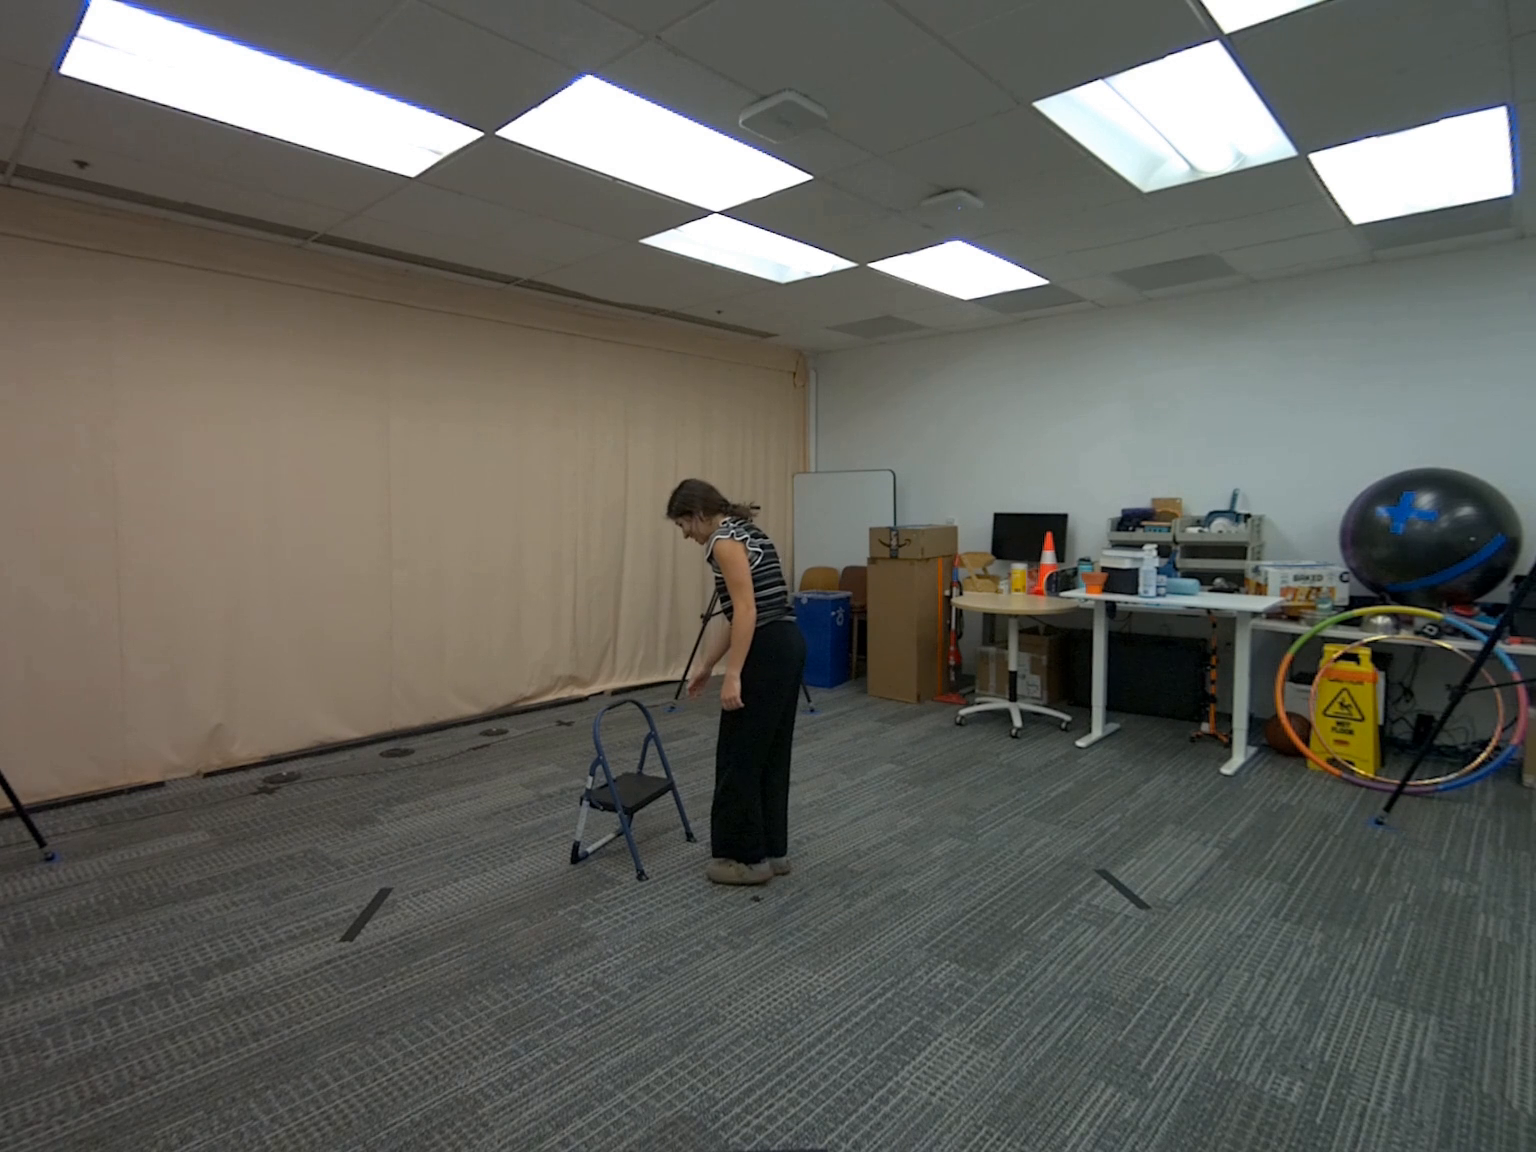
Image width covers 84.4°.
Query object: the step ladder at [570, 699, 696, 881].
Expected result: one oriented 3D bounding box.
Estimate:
[{"bbox_3d":[-0.540,0.812,3.387,0.358,0.605,0.421,0,3,24],"label":"step ladder"}]
